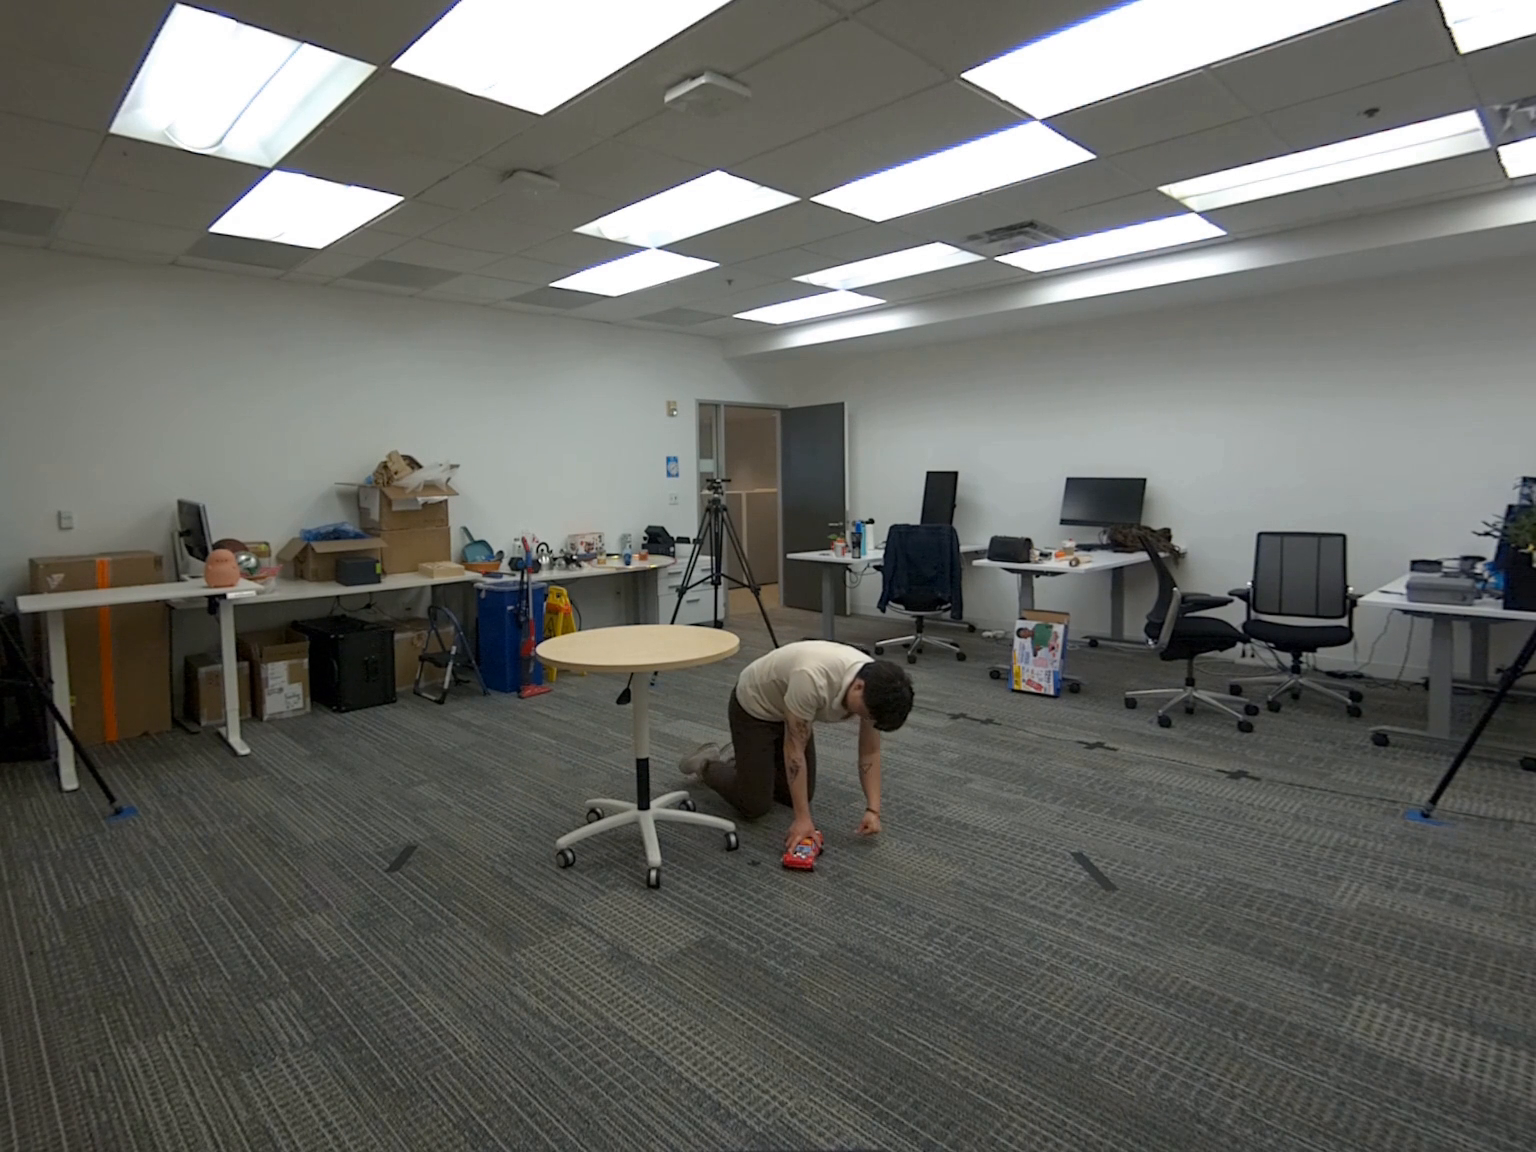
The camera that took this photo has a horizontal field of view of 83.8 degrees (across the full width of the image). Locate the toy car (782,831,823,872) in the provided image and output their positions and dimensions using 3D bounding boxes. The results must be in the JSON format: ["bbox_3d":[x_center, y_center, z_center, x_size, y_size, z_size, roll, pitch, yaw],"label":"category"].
[{"bbox_3d":[0.138,1.012,3.141,0.132,0.082,0.254,-1,16,17],"label":"toy car"}]
